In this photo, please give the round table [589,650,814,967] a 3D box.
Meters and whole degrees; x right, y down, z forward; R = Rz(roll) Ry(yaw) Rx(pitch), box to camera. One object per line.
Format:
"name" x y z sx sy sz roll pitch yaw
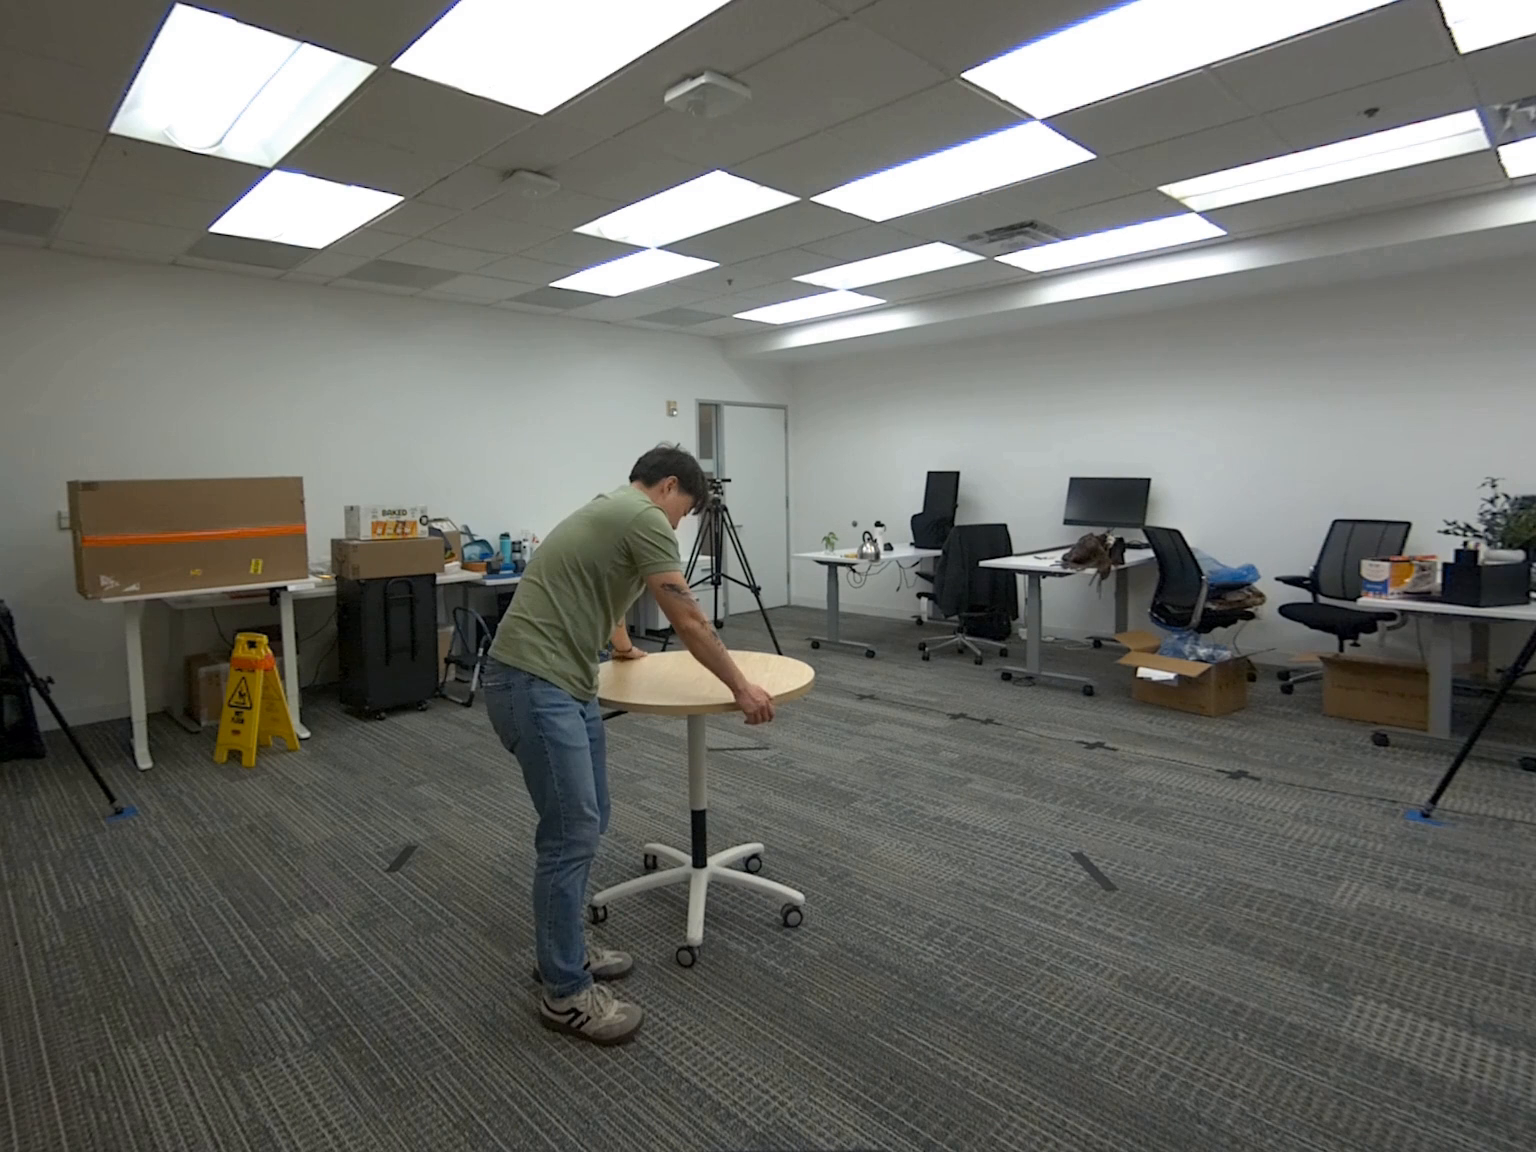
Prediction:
"round table" -0.223 0.700 2.773 0.763 0.791 0.768 -2 5 -2
